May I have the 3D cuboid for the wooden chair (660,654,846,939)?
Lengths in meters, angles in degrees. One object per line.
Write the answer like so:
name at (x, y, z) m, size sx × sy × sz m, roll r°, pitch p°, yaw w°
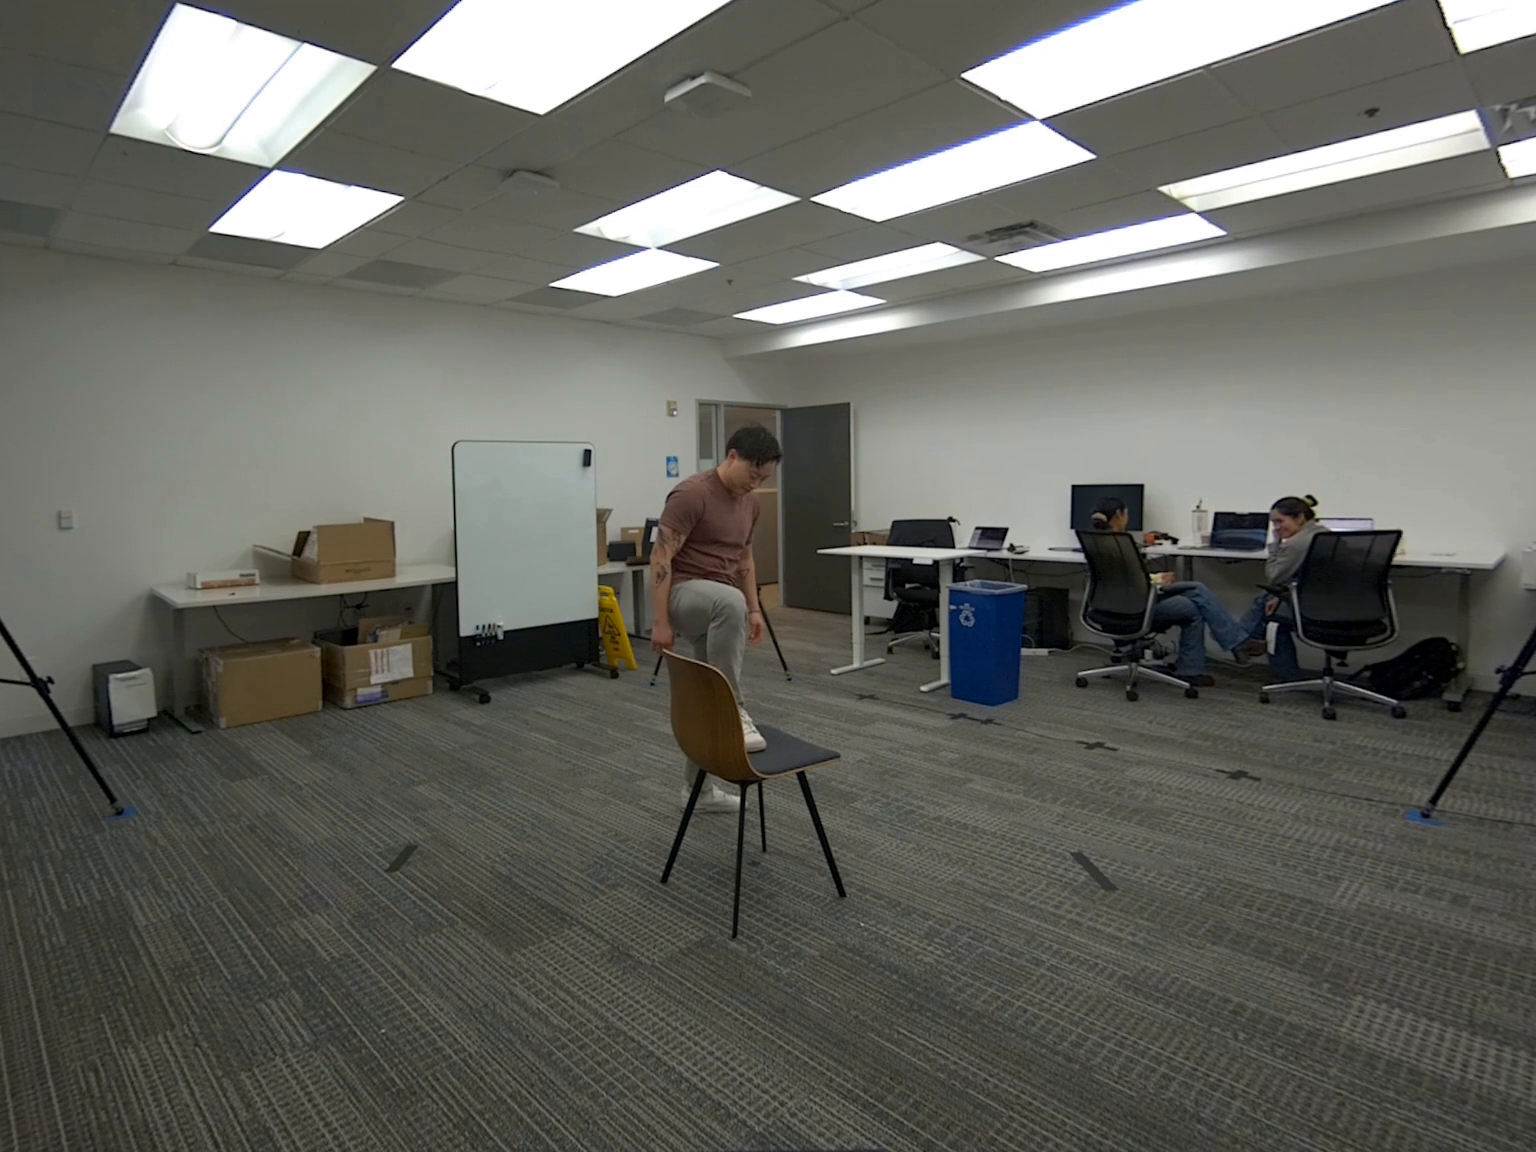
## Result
wooden chair at (-0.054, 0.646, 2.876) m, size 0.511 × 0.872 × 0.492 m, roll -9°, pitch 8°, yaw -35°
